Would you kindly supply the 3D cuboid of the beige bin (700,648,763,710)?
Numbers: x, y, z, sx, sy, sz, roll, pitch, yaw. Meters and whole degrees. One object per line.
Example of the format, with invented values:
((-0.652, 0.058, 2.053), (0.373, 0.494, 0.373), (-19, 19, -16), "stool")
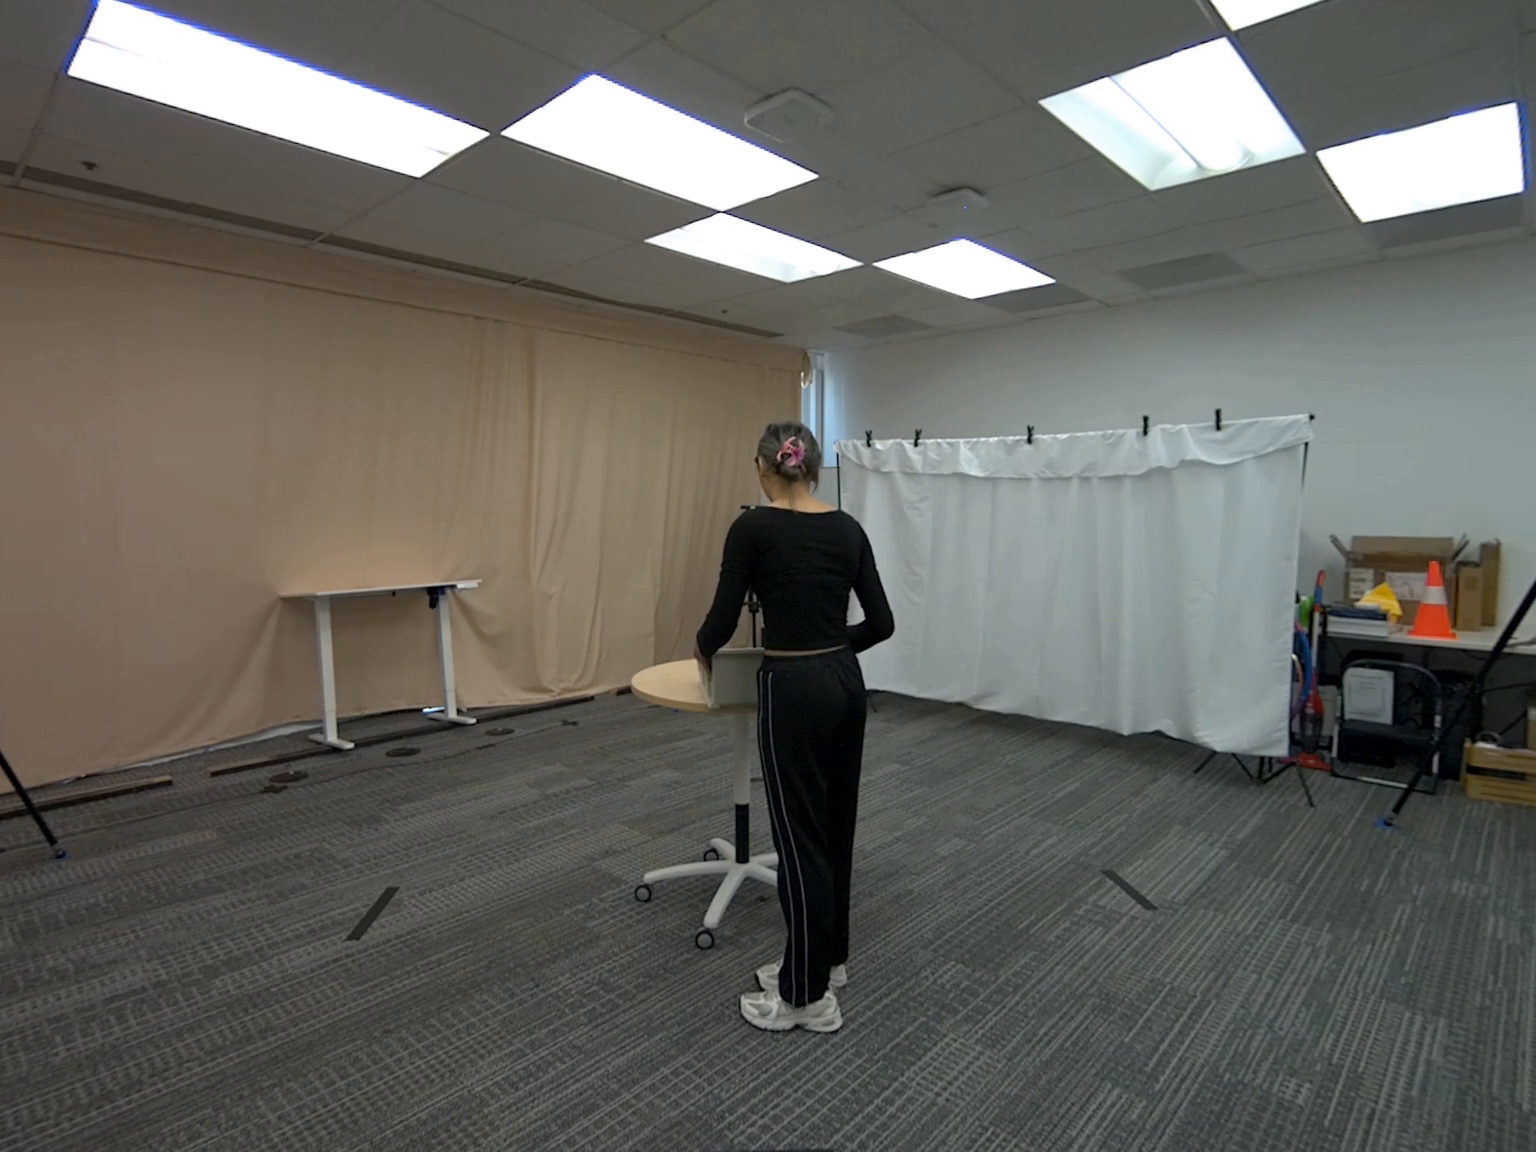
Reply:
((-0.007, 0.285, 2.708), (0.419, 0.188, 0.381), (0, 6, -7), "beige bin")
